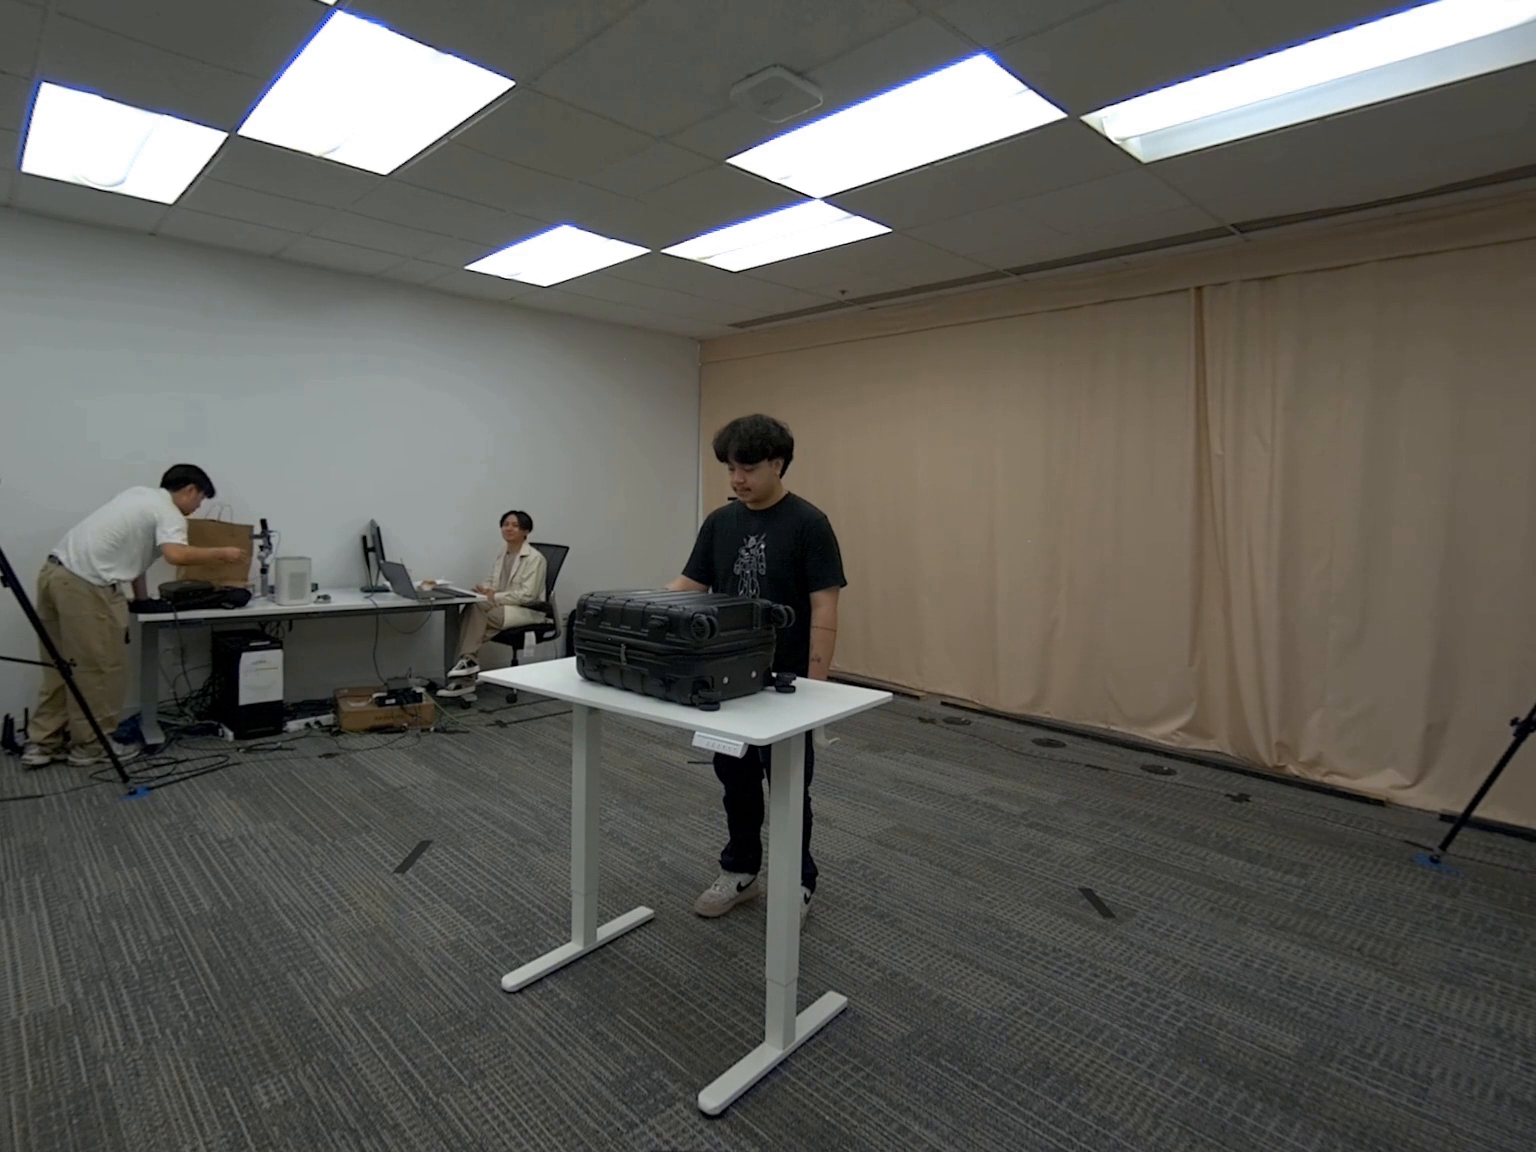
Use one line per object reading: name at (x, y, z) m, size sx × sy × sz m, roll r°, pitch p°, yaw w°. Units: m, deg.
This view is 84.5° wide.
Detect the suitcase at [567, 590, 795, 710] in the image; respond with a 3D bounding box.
suitcase at (-0.258, 0.185, 2.268) m, size 0.563 × 0.247 × 0.367 m, roll 6°, pitch 7°, yaw 42°
